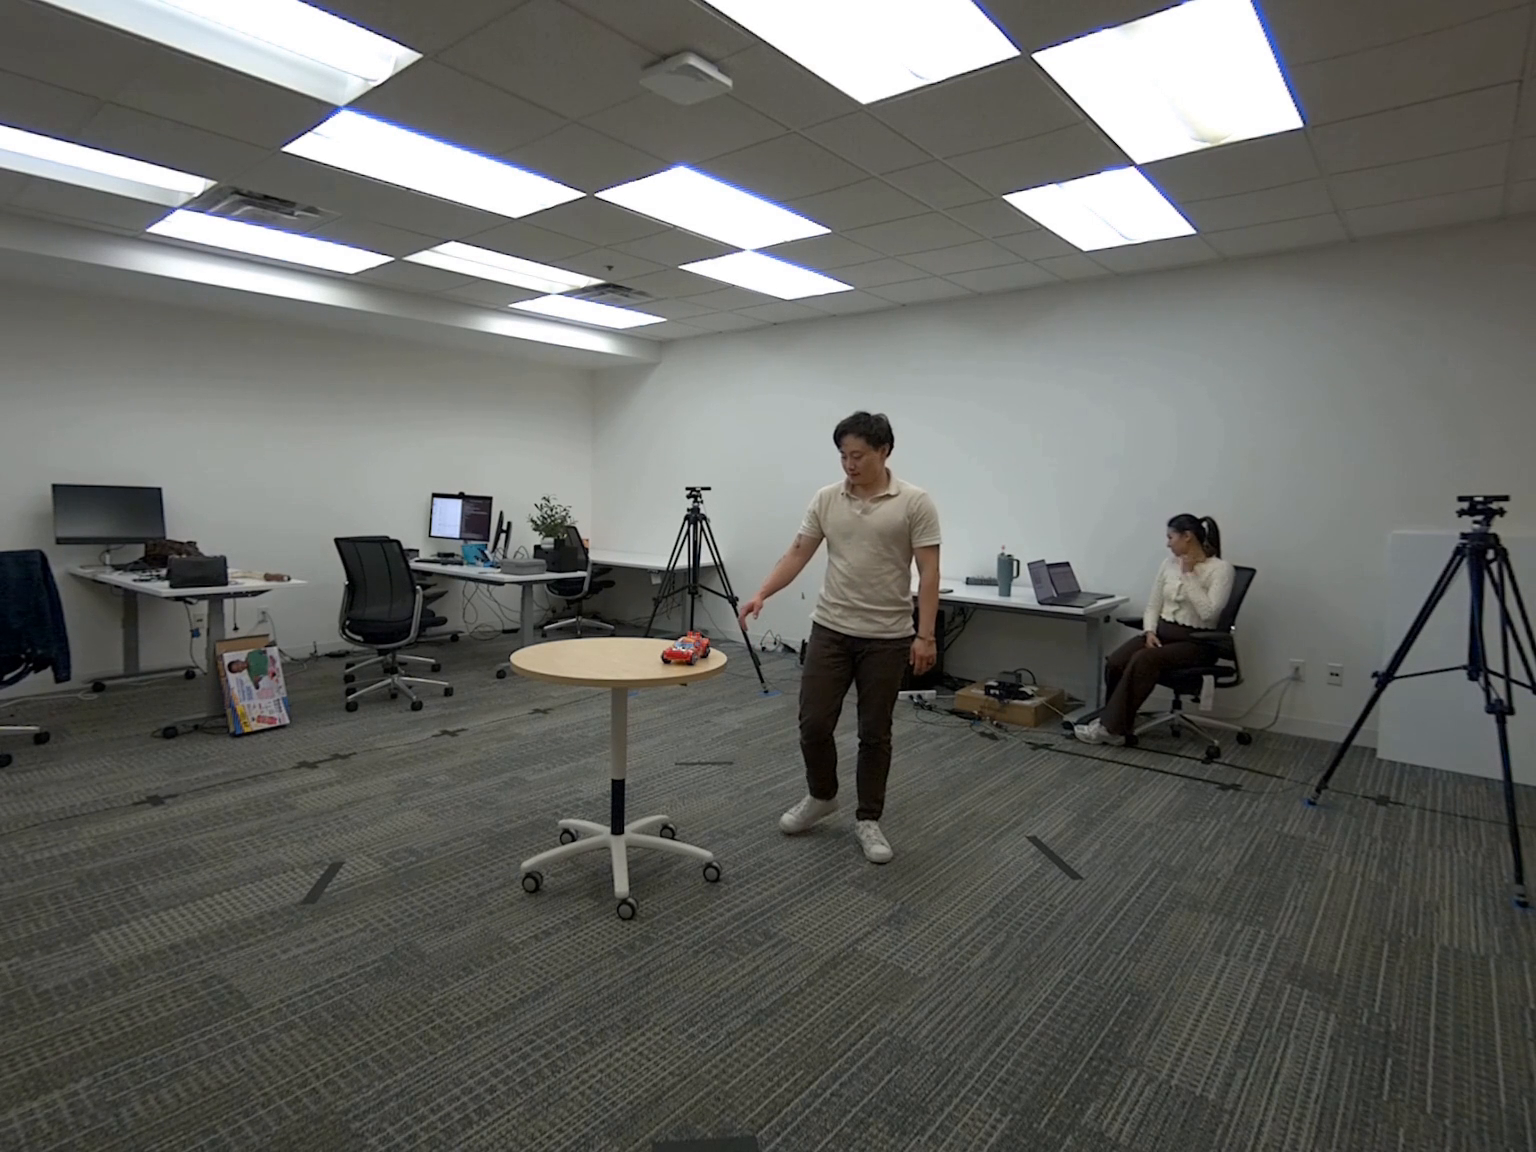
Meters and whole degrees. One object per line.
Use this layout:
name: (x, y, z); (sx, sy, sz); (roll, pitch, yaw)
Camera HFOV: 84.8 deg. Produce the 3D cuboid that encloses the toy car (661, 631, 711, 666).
toy car: (-0.293, 0.260, 3.010); (0.132, 0.082, 0.254); (2, 17, 15)
